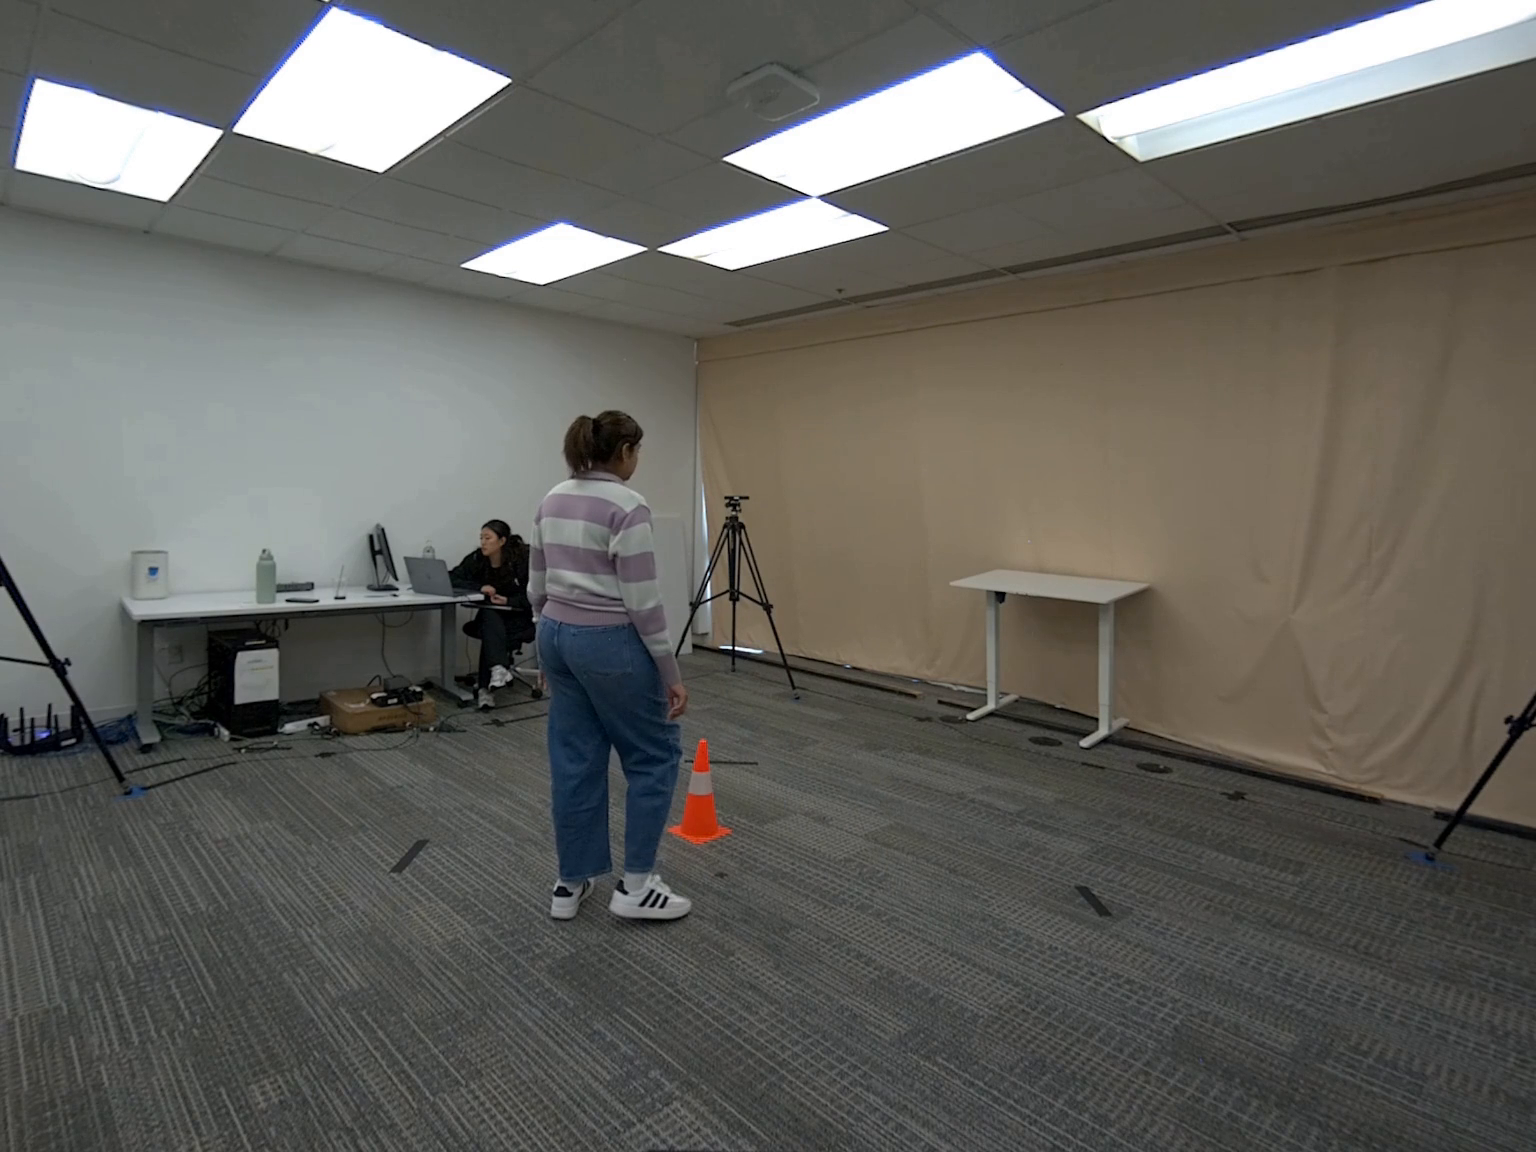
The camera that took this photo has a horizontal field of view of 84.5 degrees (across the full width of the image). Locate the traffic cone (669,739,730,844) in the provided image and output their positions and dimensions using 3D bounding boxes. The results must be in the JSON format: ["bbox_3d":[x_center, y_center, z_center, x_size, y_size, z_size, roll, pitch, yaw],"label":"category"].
[{"bbox_3d":[-0.291,0.879,3.506,0.199,0.382,0.210,-2,6,-44],"label":"traffic cone"}]
